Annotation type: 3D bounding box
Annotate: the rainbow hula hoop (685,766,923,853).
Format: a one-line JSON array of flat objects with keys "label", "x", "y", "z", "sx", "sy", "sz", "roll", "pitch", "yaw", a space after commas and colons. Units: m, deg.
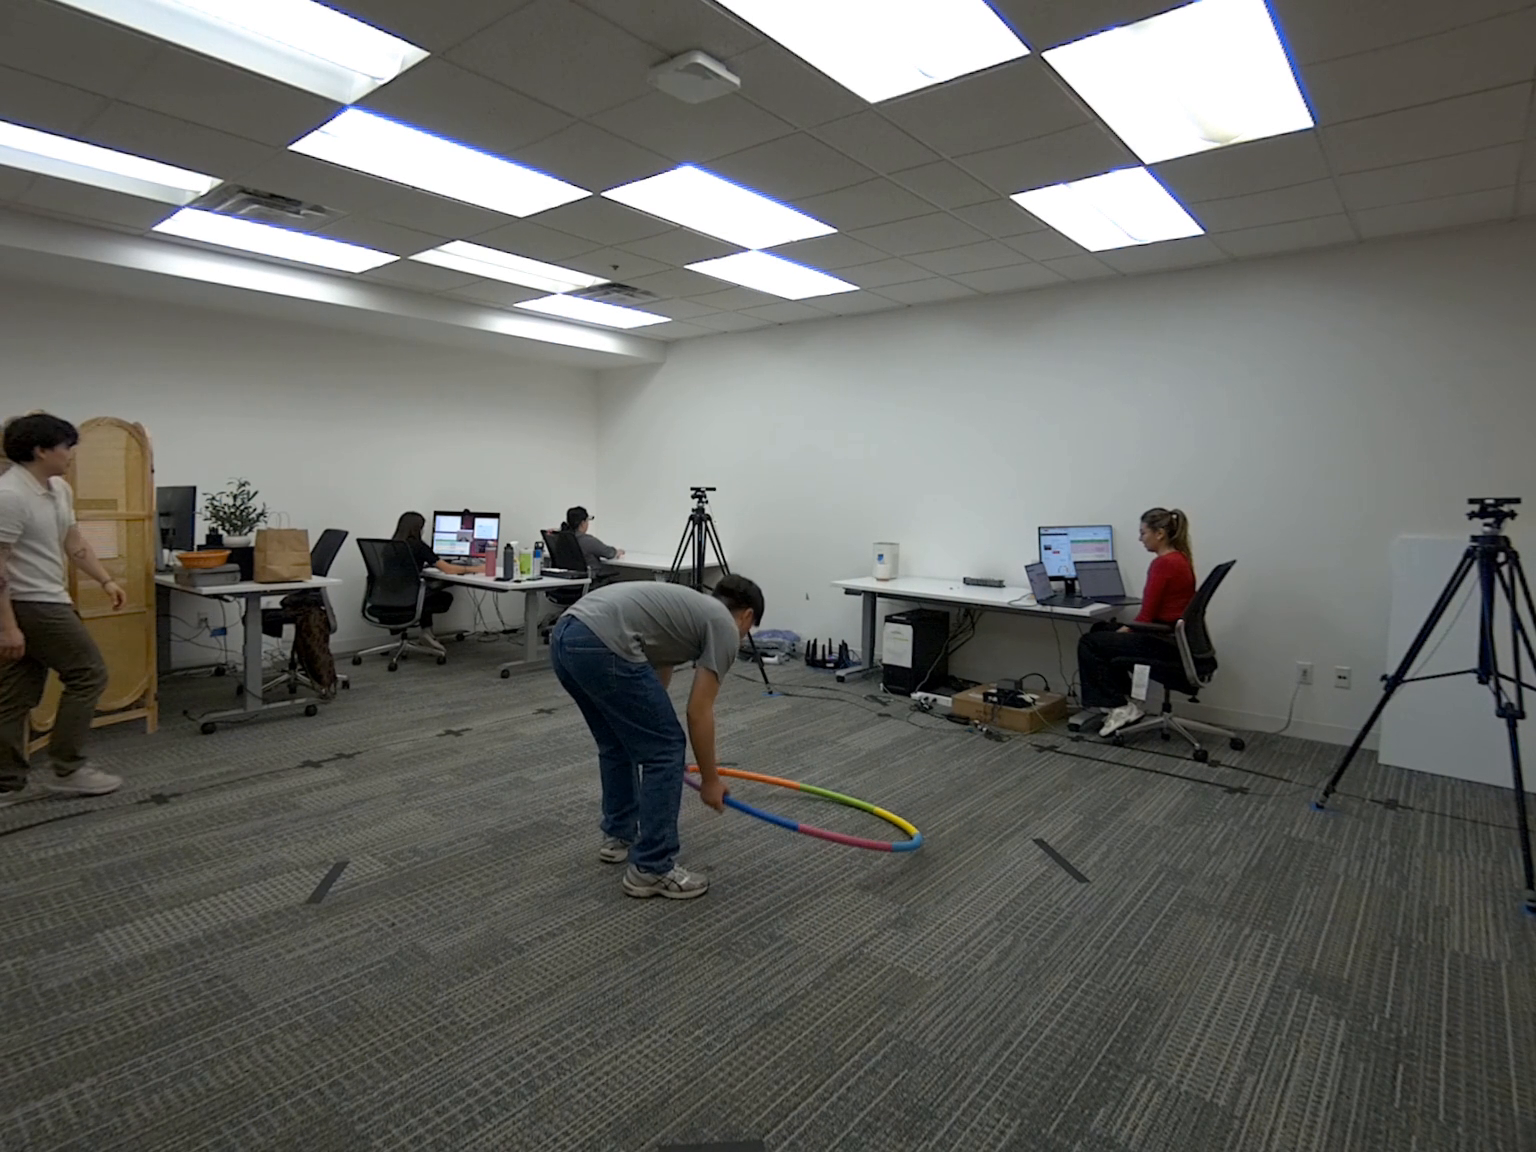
[{"label": "rainbow hula hoop", "x": 0.111, "y": 0.883, "z": 3.379, "sx": 0.980, "sy": 0.036, "sz": 0.974, "roll": 14, "pitch": -5, "yaw": 0}]
